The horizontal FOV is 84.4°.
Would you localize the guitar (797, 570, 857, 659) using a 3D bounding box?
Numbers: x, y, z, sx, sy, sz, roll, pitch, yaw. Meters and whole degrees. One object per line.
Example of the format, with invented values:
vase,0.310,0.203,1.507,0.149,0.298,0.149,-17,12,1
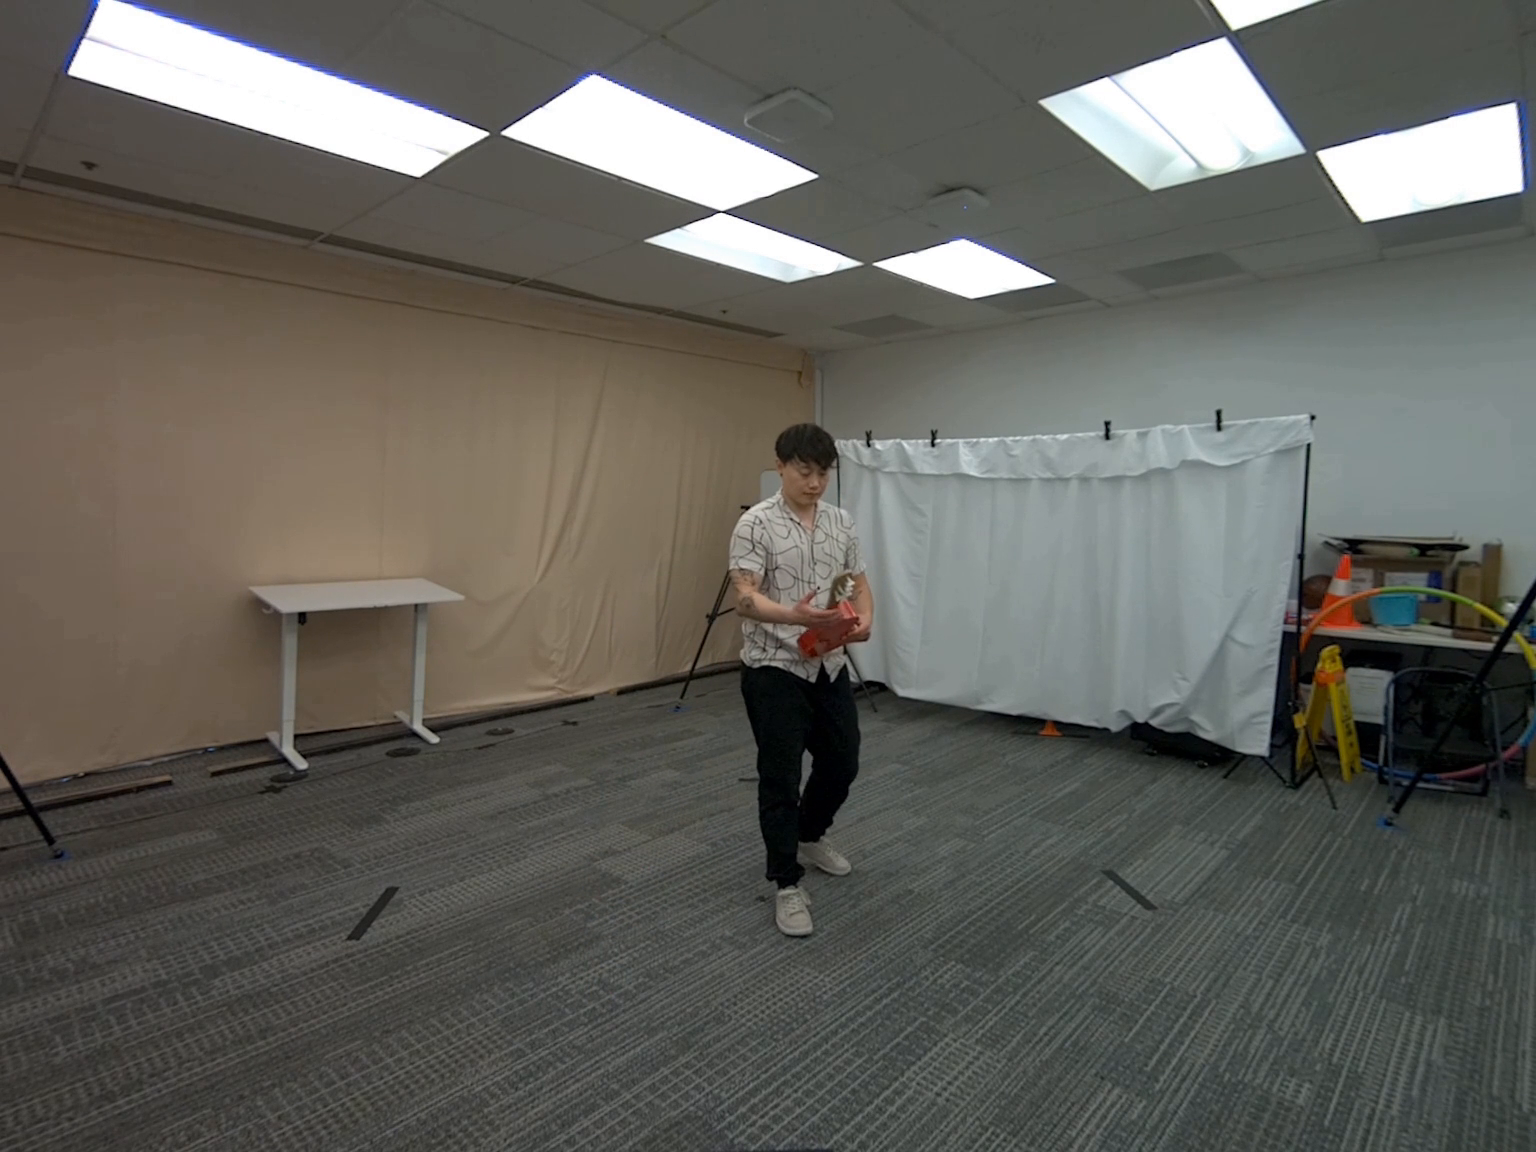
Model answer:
guitar,0.173,0.133,2.566,0.193,0.072,0.486,-22,-24,0
